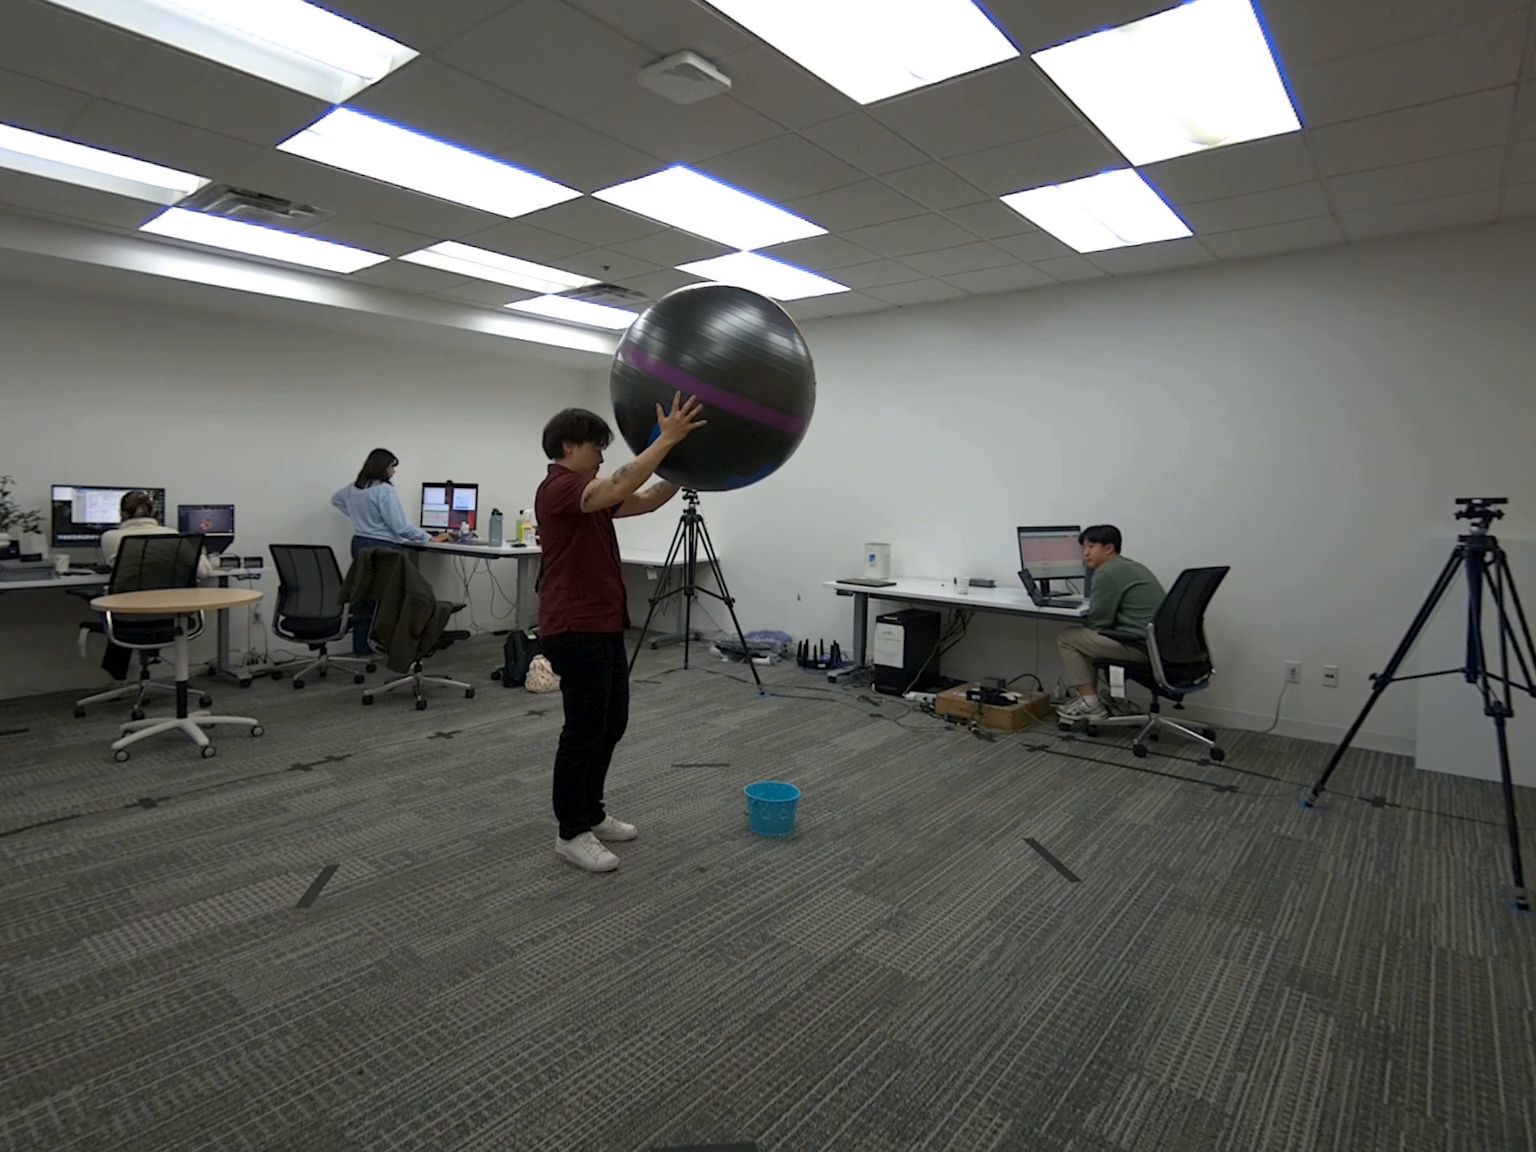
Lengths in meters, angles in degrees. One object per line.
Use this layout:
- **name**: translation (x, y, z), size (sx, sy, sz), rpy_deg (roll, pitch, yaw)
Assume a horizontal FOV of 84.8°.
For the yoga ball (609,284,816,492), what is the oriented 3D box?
- **yoga ball**: translation (-0.208, -0.691, 3.151), size (0.757, 0.755, 0.762), rpy_deg (1, 4, -2)
